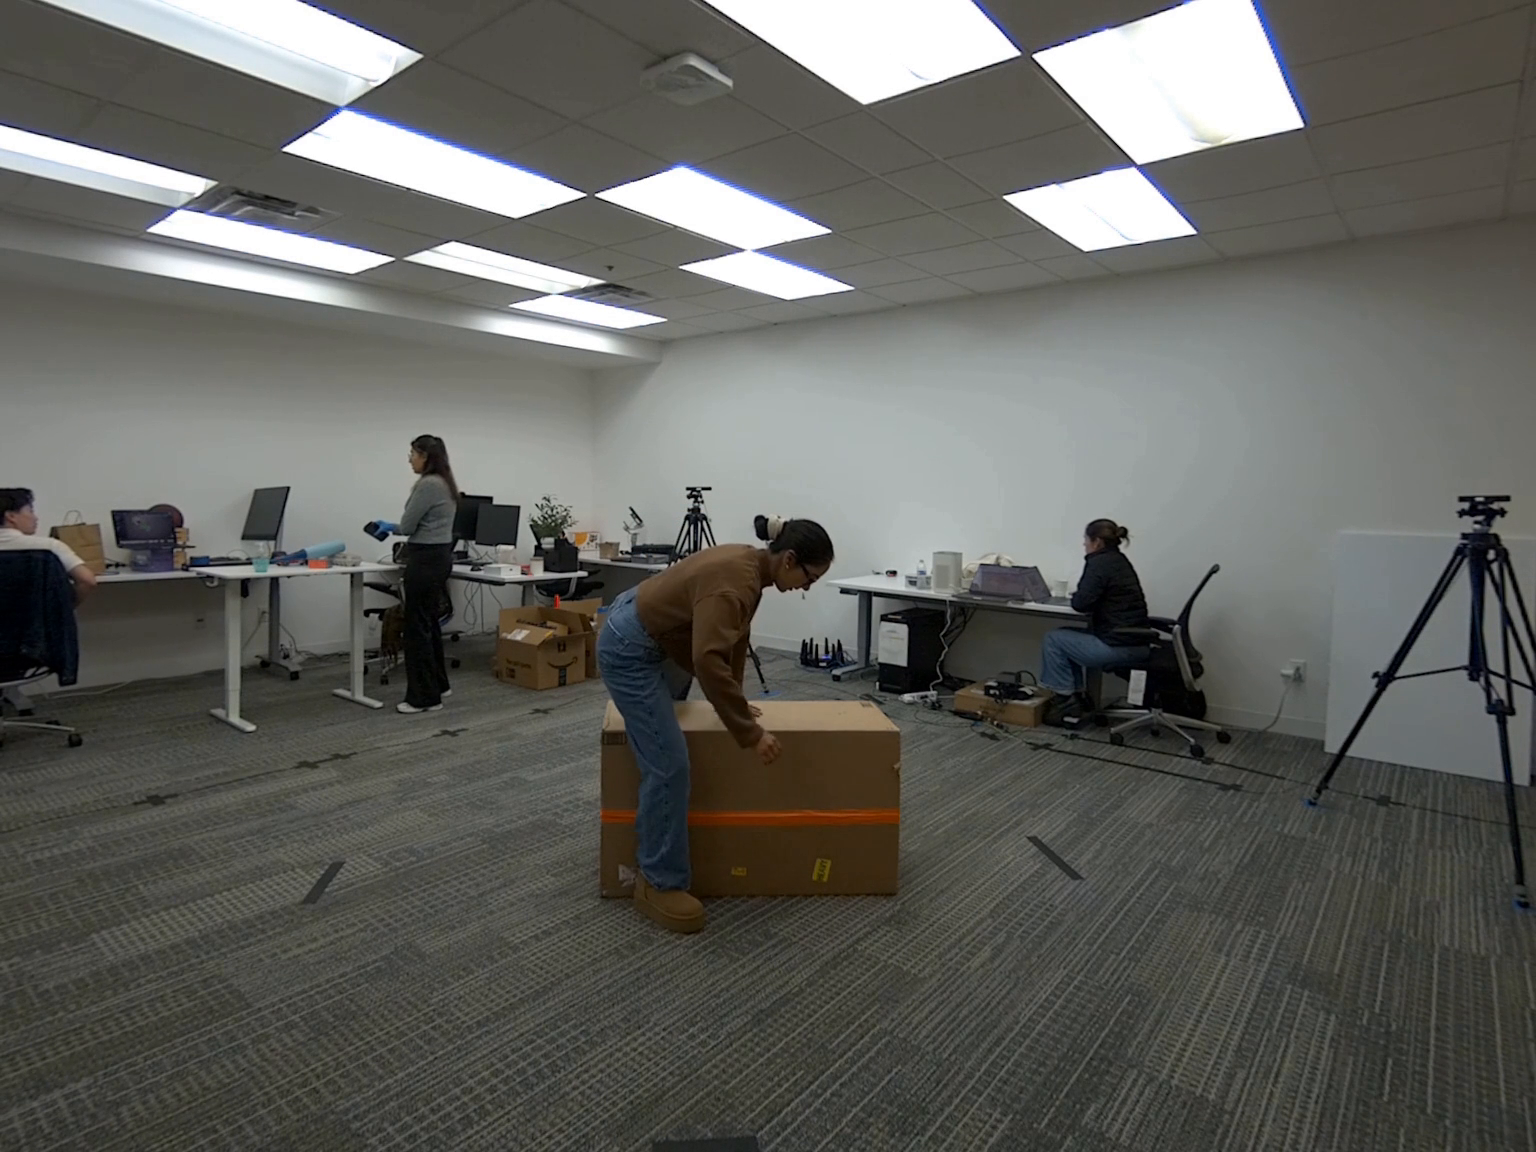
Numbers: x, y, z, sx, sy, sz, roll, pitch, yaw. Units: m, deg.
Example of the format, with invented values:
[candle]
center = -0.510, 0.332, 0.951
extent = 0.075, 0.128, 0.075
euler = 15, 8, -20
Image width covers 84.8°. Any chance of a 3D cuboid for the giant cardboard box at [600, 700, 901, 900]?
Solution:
[giant cardboard box]
center = -0.086, 0.788, 3.086
extent = 1.023, 0.583, 0.450
euler = 1, 3, -4
